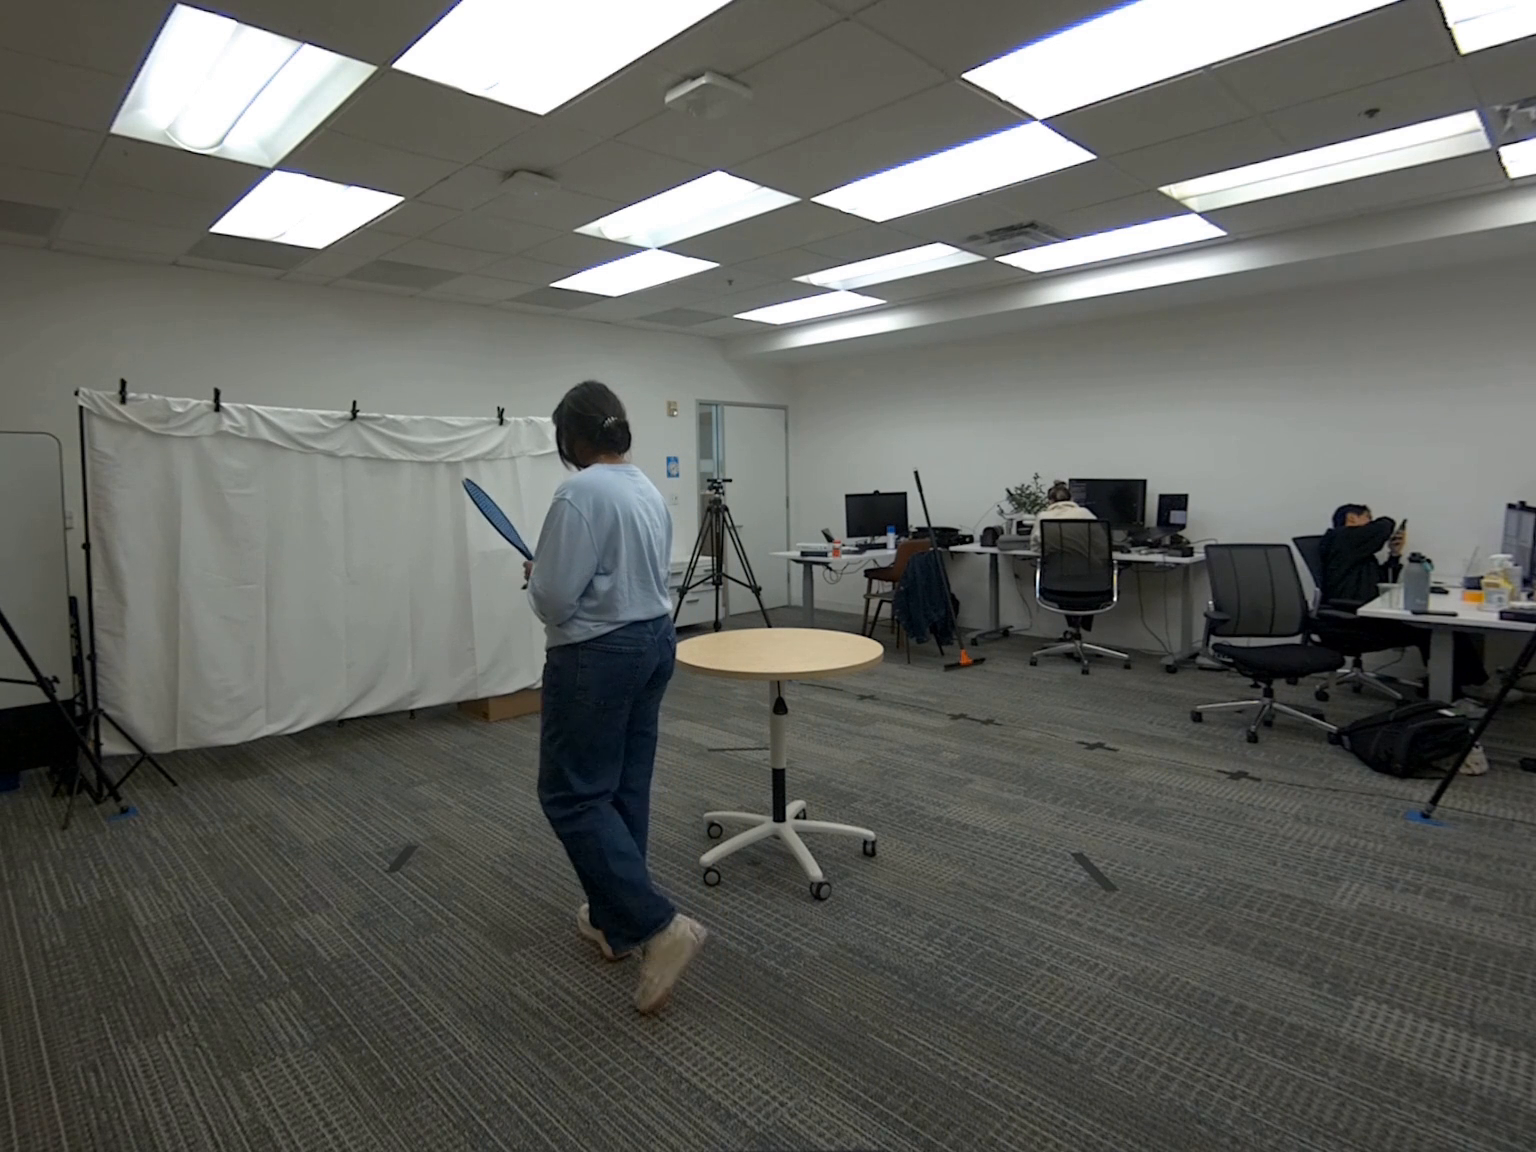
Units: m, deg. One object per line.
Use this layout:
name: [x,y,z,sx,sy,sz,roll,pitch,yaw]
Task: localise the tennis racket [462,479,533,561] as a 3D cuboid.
tennis racket: [-0.746,-0.120,2.548,0.032,0.433,0.214,-39,1,-1]
